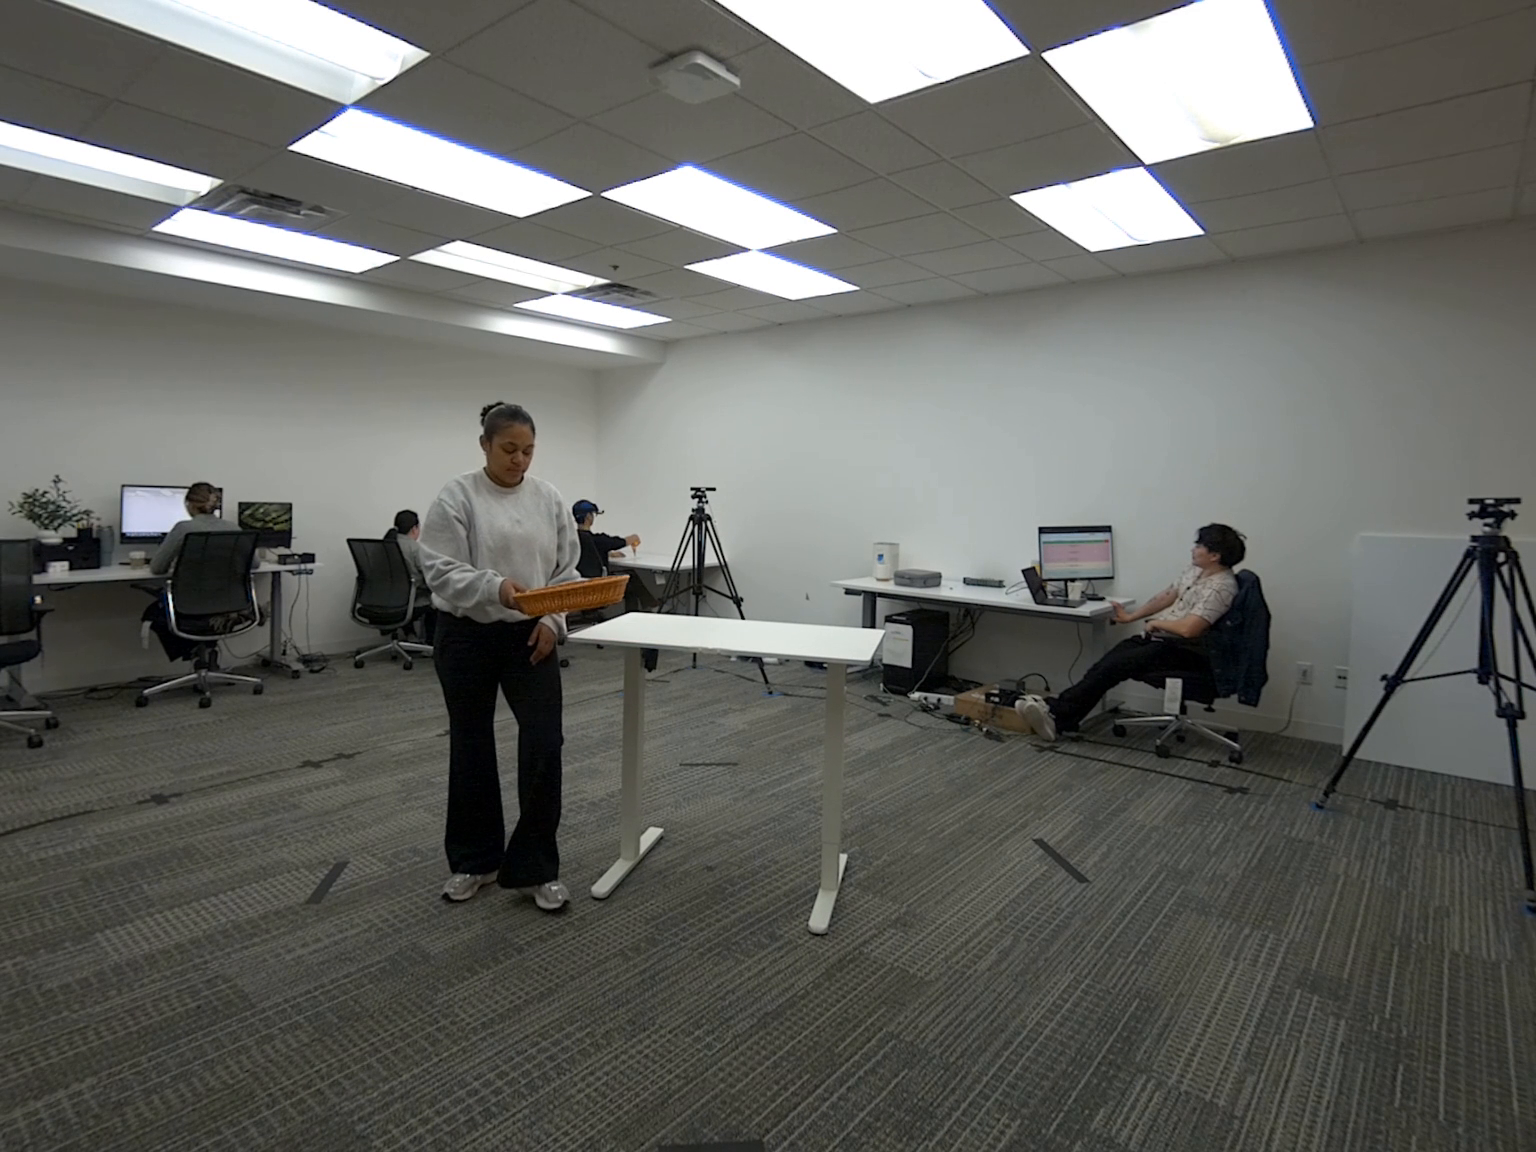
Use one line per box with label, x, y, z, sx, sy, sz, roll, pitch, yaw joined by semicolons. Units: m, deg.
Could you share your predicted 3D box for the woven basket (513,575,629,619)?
woven basket;-0.588;0.072;2.468;0.357;0.073;0.248;-7;4;23
